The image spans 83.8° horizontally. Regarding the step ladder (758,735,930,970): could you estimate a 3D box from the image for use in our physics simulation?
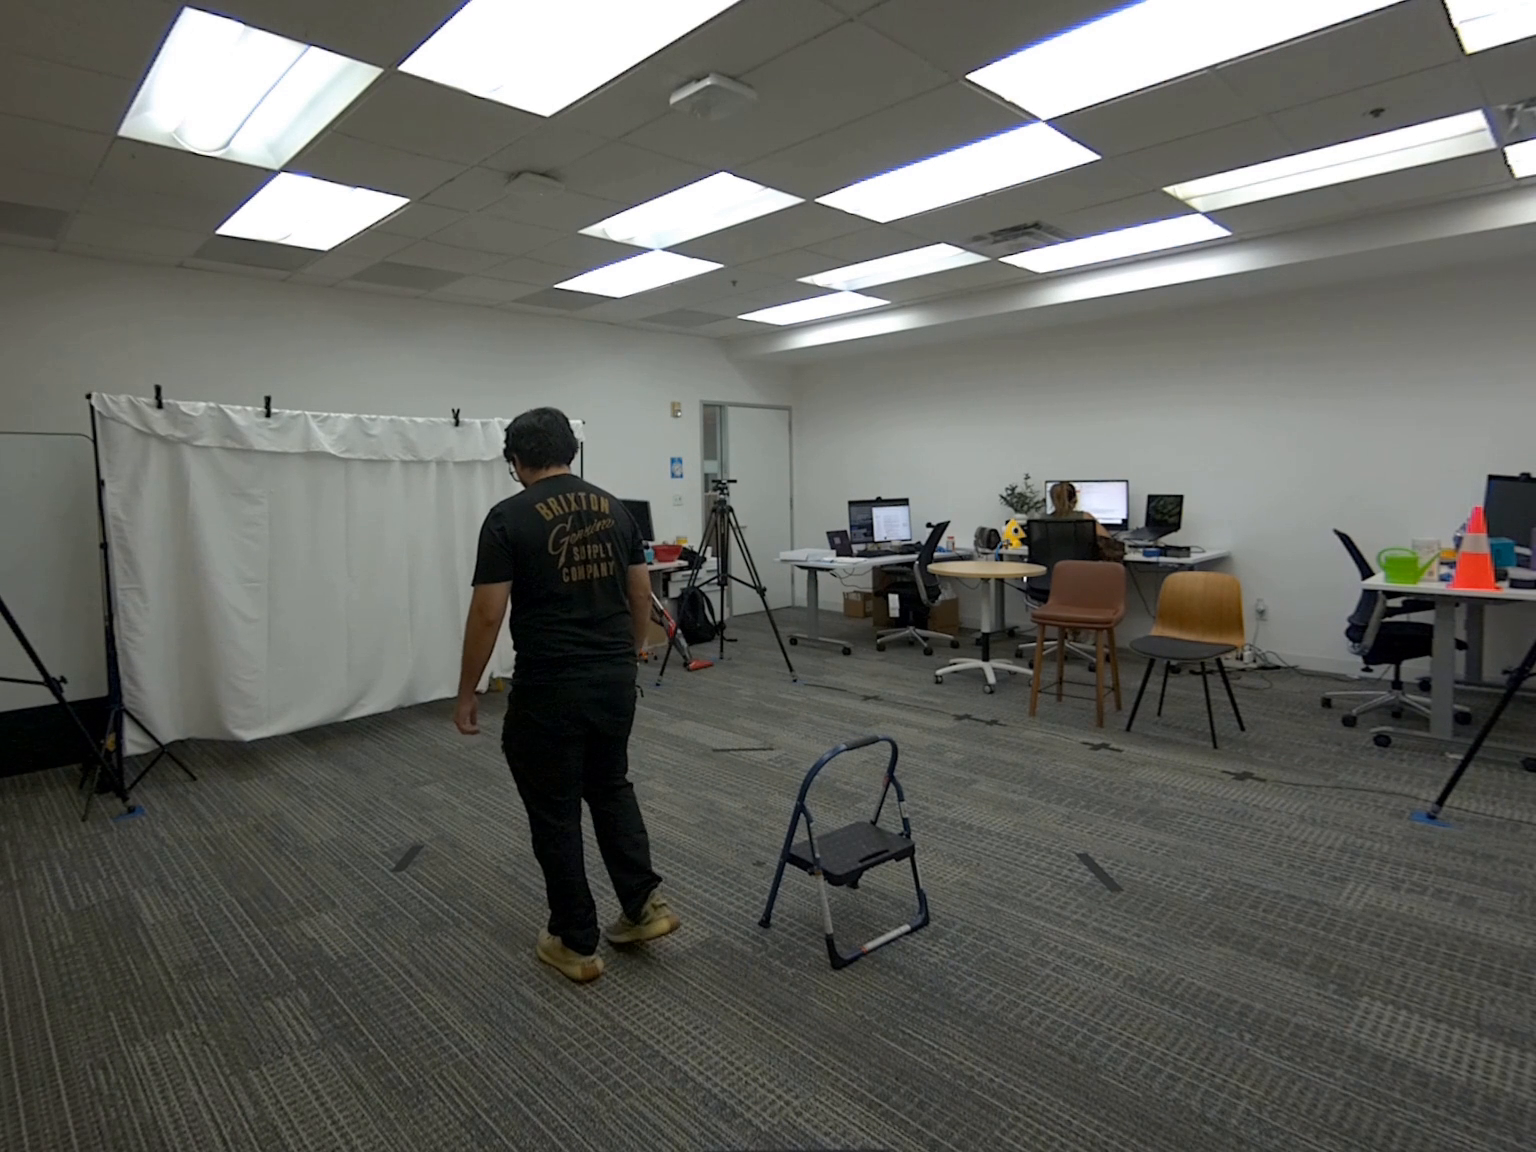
[{"bbox_3d":[0.240,0.792,2.663,0.419,0.604,0.360,-5,5,-39],"label":"step ladder"}]
